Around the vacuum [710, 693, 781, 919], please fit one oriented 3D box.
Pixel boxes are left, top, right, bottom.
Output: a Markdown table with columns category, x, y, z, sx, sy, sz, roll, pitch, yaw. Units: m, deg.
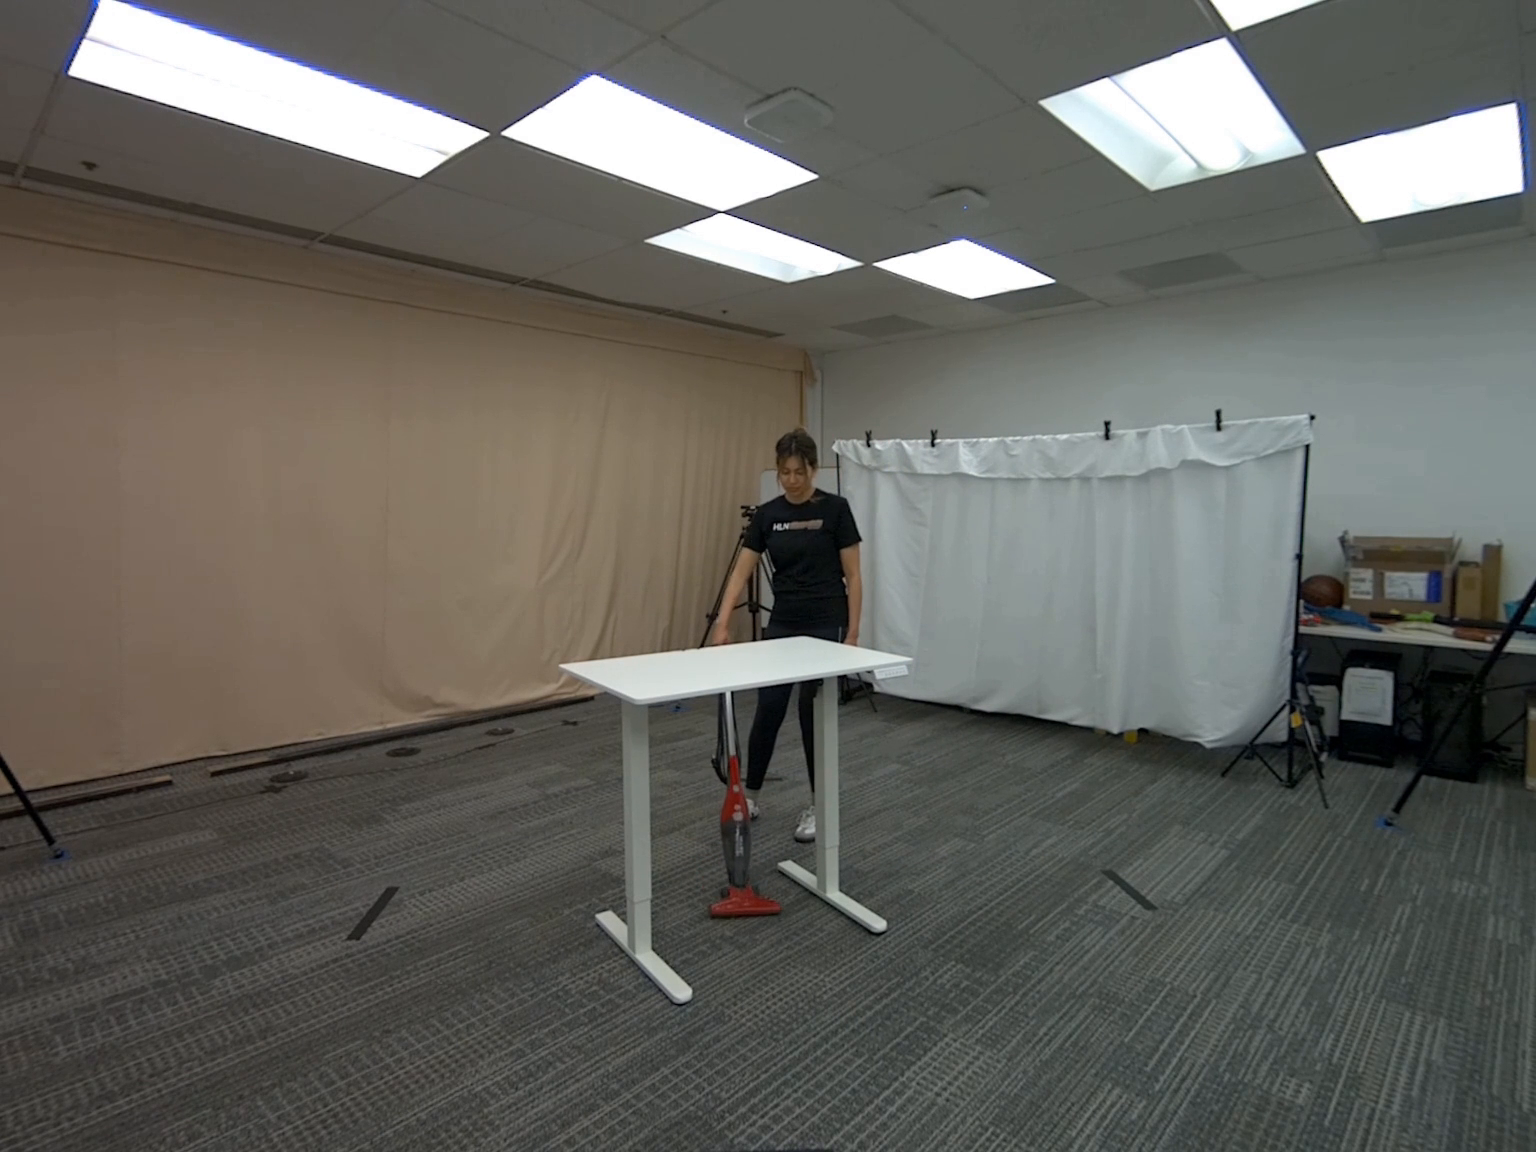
| category | x | y | z | sx | sy | sz | roll | pitch | yaw |
| --- | --- | --- | --- | --- | --- | --- | --- | --- | --- |
| vacuum | -0.137 | 0.707 | 3.231 | 0.249 | 1.072 | 0.143 | 3 | -38 | -13 |
